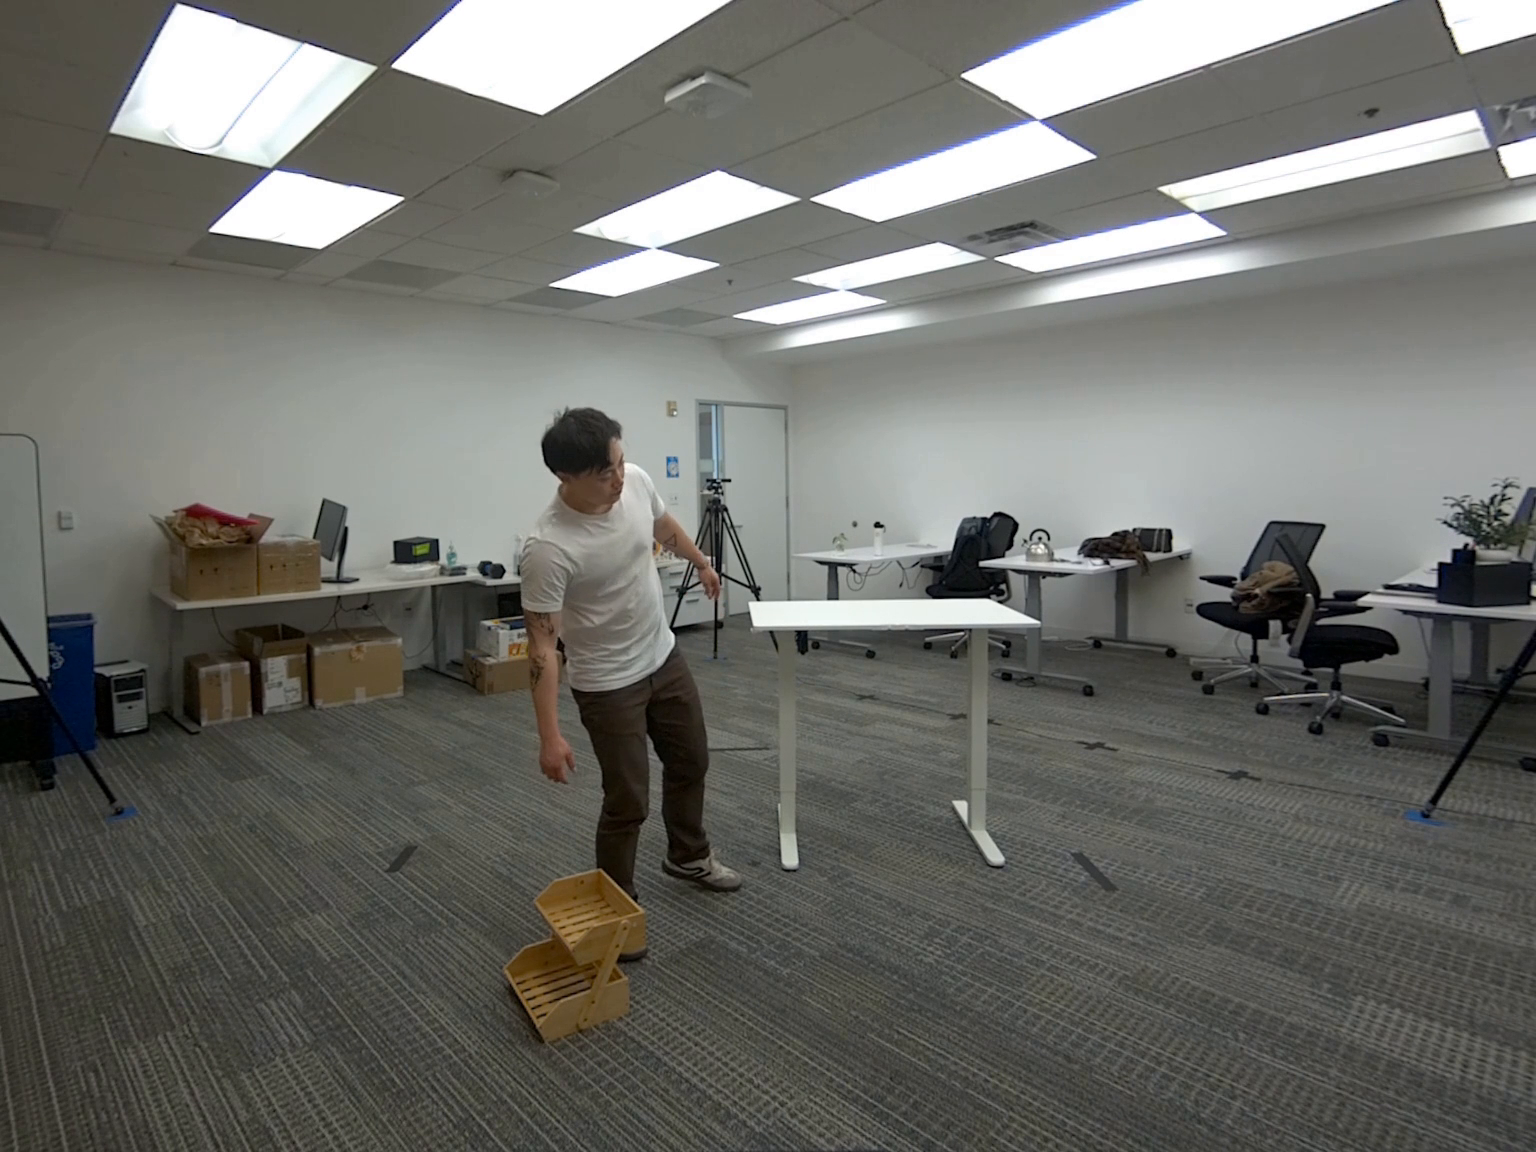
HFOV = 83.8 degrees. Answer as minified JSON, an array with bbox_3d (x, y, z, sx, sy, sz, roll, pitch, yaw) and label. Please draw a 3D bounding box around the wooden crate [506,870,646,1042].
[{"bbox_3d":[-0.539,1.020,2.319,0.295,0.272,0.334,-4,7,-31],"label":"wooden crate"}]
